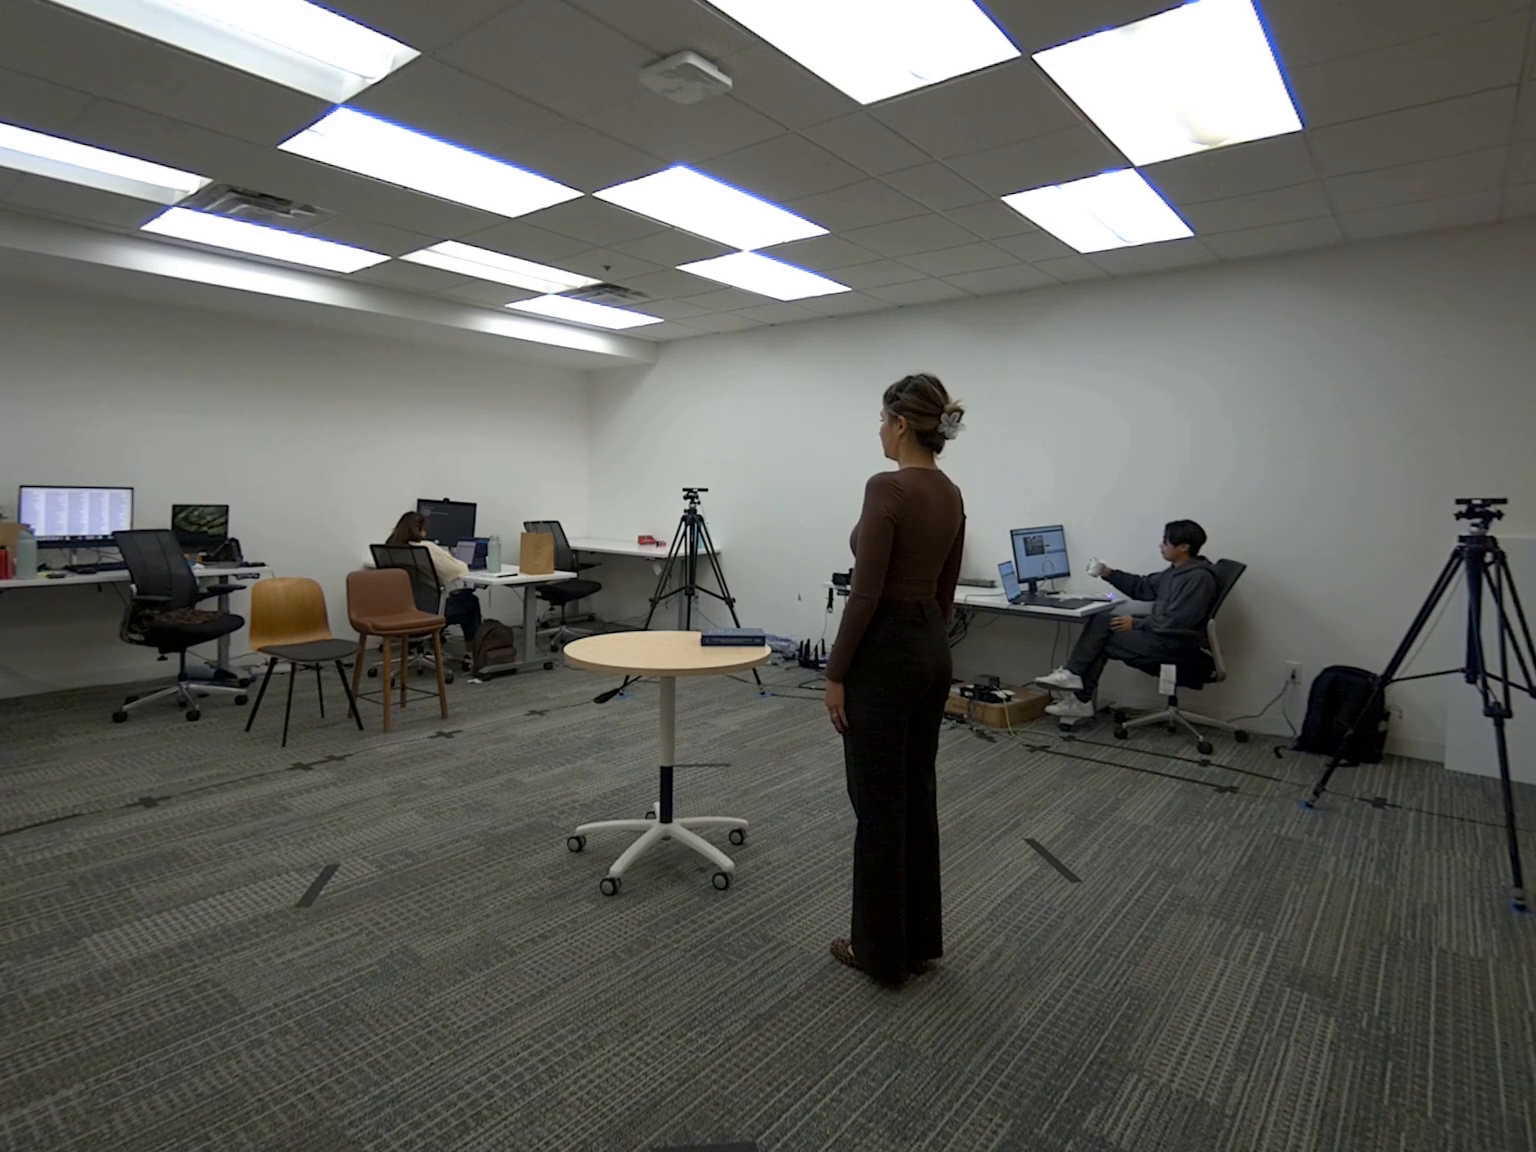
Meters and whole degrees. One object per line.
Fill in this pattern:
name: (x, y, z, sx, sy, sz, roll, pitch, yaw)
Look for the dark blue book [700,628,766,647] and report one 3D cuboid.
dark blue book: (-0.156, 0.234, 3.282, 0.244, 0.045, 0.164, 0, 6, -3)
